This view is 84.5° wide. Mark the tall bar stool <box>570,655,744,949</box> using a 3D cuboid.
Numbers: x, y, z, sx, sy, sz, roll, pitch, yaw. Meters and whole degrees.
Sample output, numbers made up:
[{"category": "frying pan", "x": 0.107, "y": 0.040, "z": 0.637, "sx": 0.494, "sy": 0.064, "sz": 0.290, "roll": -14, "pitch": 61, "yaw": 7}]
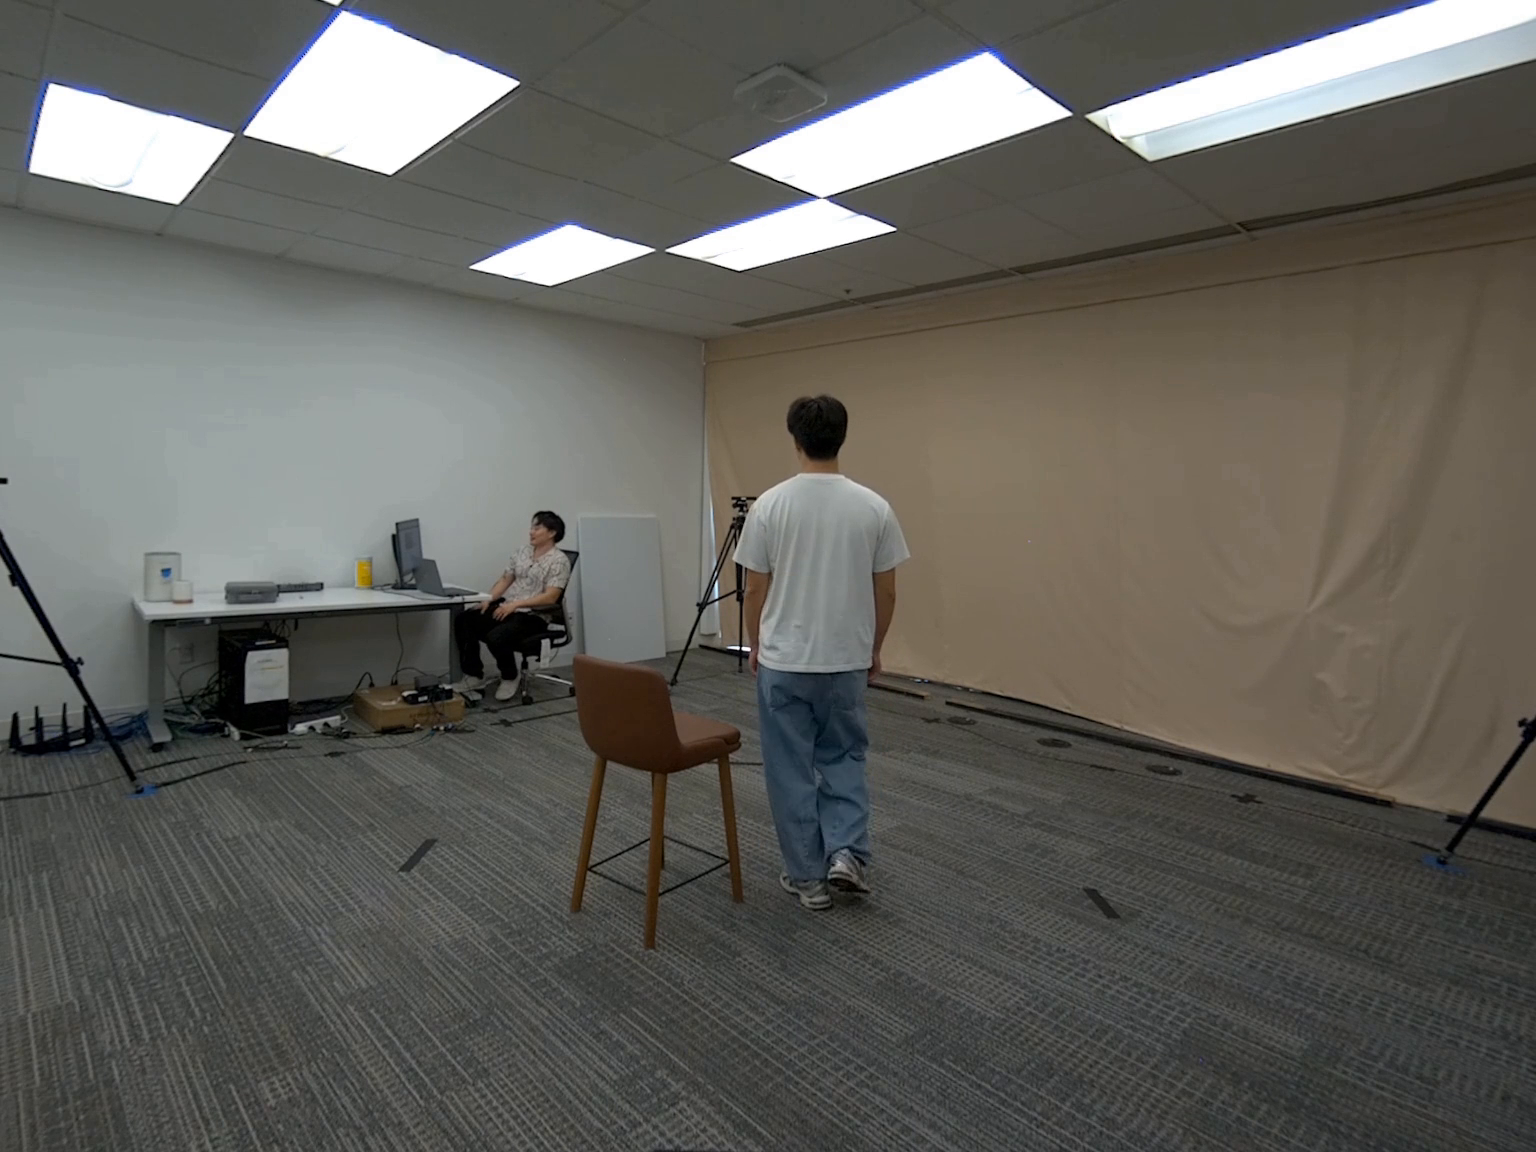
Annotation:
[{"category": "tall bar stool", "x": -0.377, "y": 0.687, "z": 2.843, "sx": 0.468, "sy": 0.887, "sz": 0.458, "roll": 4, "pitch": 6, "yaw": 39}]
